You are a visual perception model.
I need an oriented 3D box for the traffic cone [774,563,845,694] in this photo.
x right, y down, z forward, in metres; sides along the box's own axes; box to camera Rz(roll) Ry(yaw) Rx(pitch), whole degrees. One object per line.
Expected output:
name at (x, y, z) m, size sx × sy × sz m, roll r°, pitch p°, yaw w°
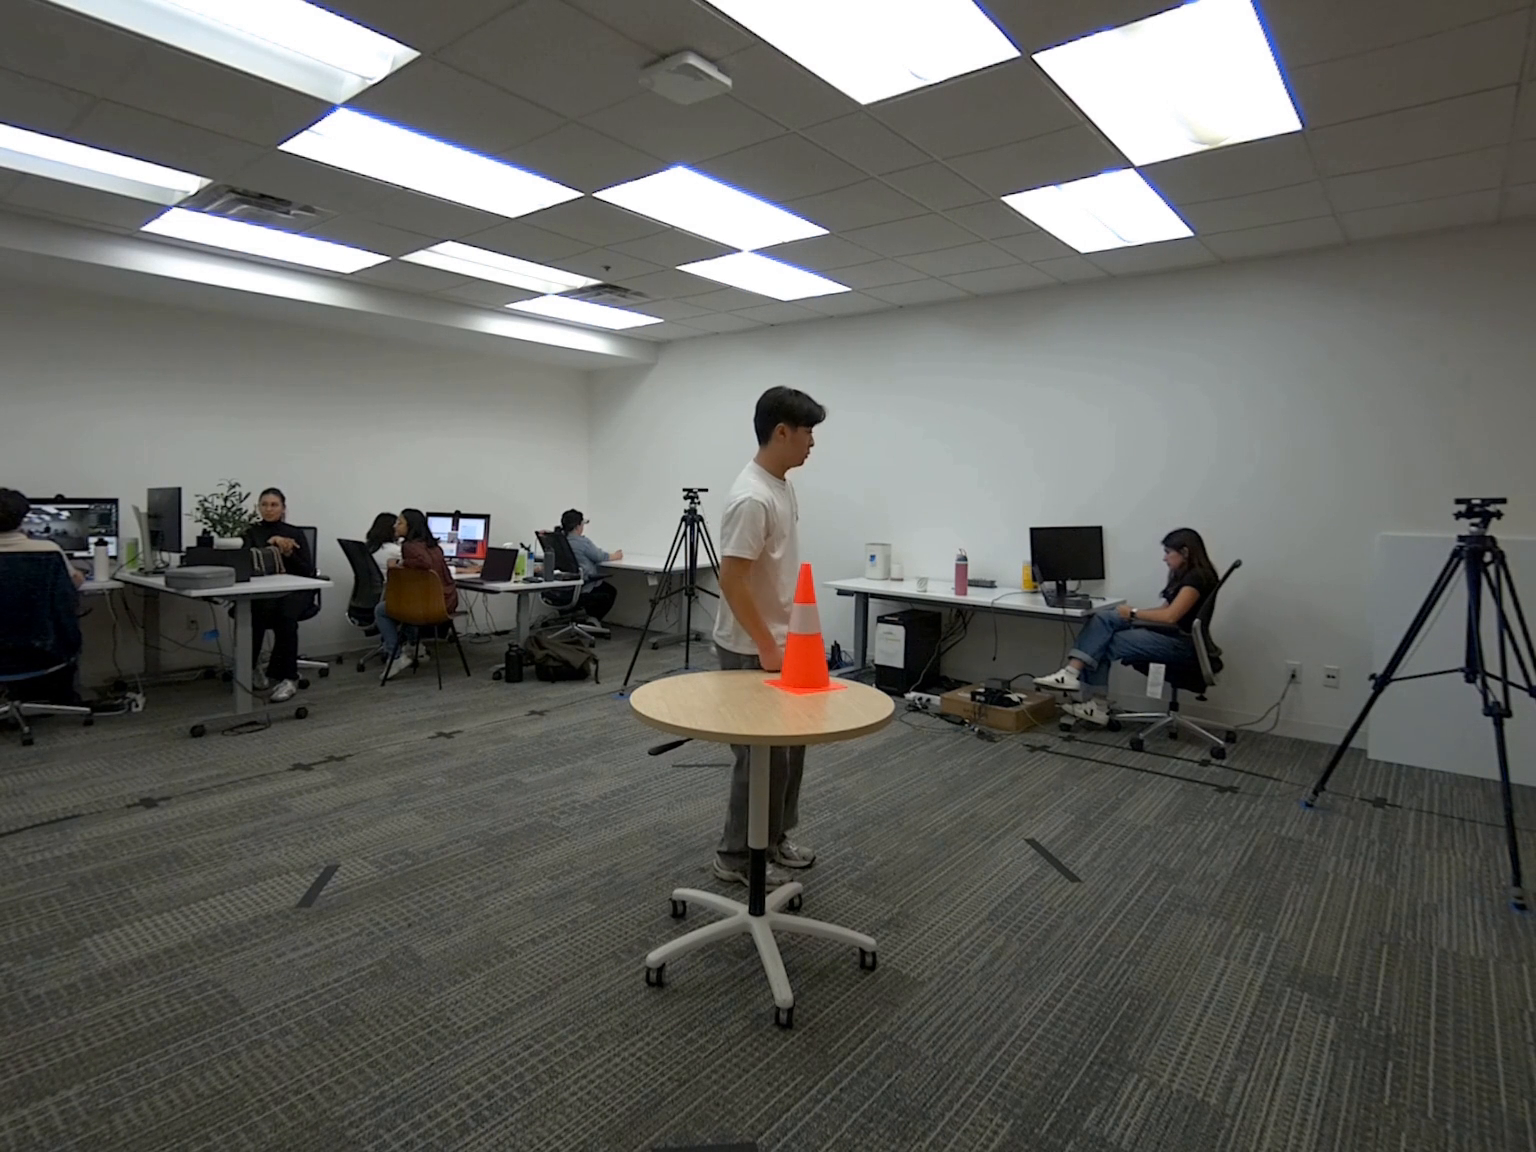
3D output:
traffic cone at (0.106, 0.142, 2.664) m, size 0.200 × 0.382 × 0.209 m, roll -5°, pitch 4°, yaw -29°
